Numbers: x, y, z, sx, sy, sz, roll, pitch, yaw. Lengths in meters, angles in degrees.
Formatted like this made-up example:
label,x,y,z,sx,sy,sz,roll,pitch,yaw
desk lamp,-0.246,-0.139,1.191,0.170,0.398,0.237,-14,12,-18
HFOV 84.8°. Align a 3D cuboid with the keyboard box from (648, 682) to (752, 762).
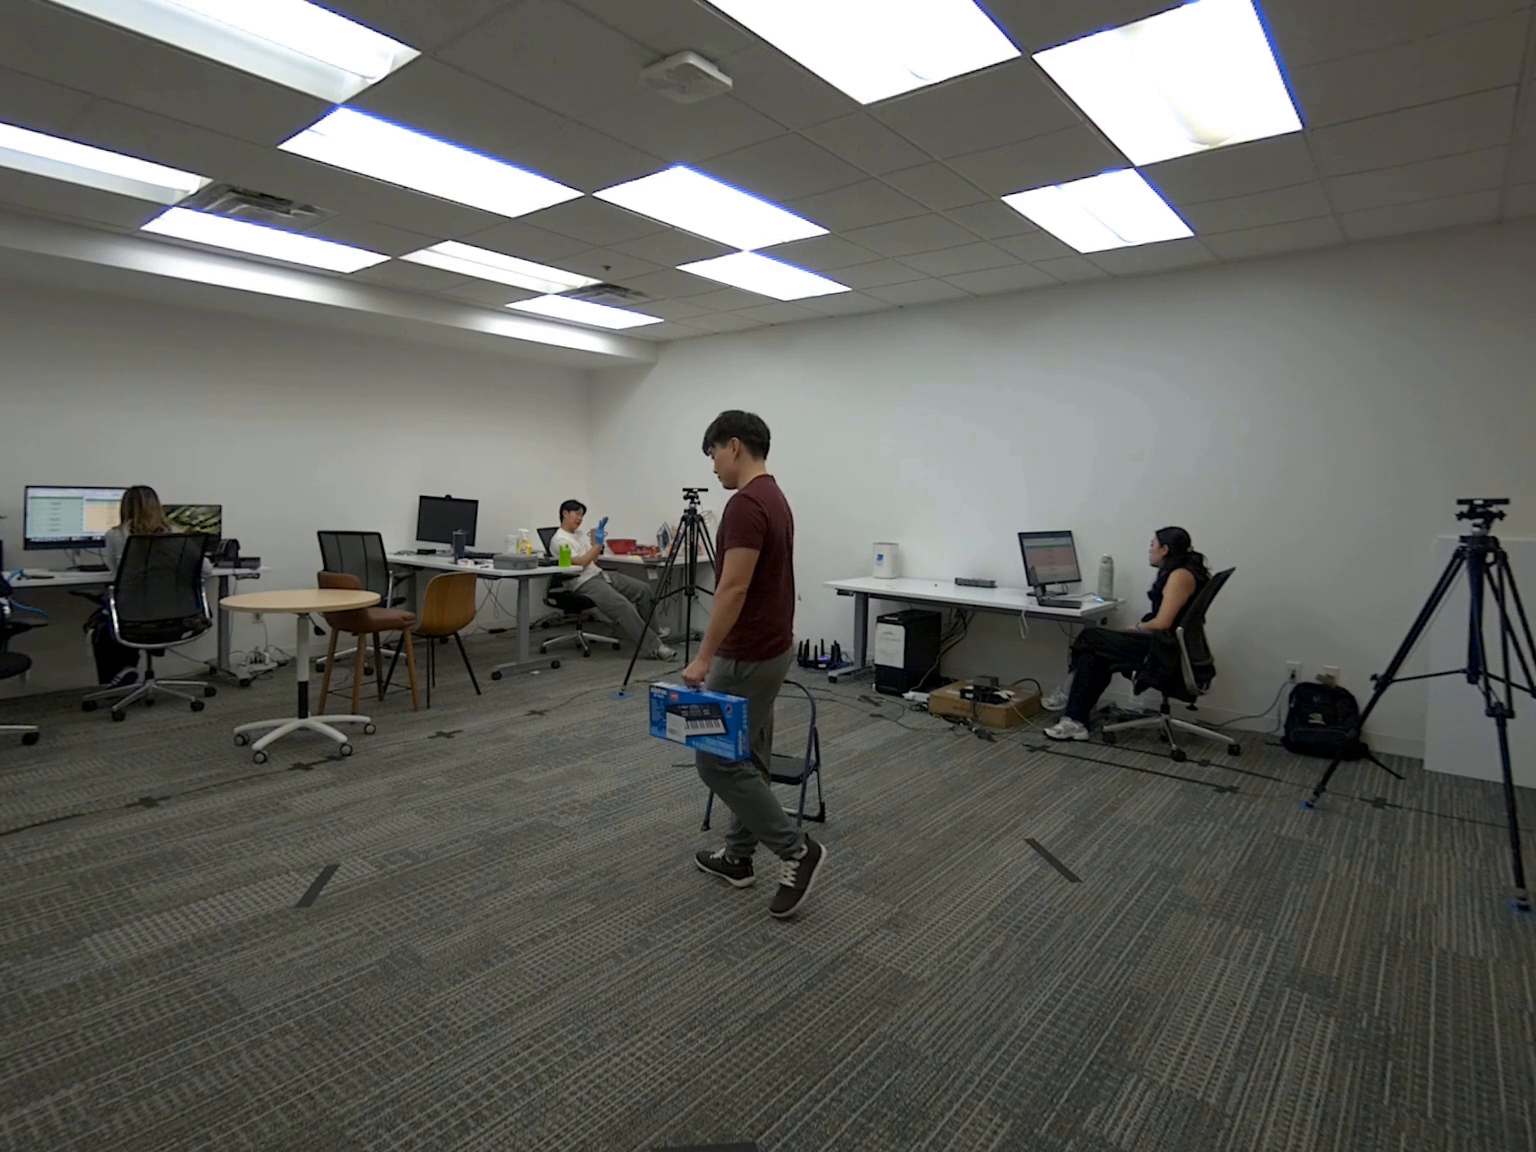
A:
label,x,y,z,sx,sy,sz,roll,pitch,yaw
keyboard box,-0.234,0.444,2.678,0.057,0.176,0.451,1,1,-40
